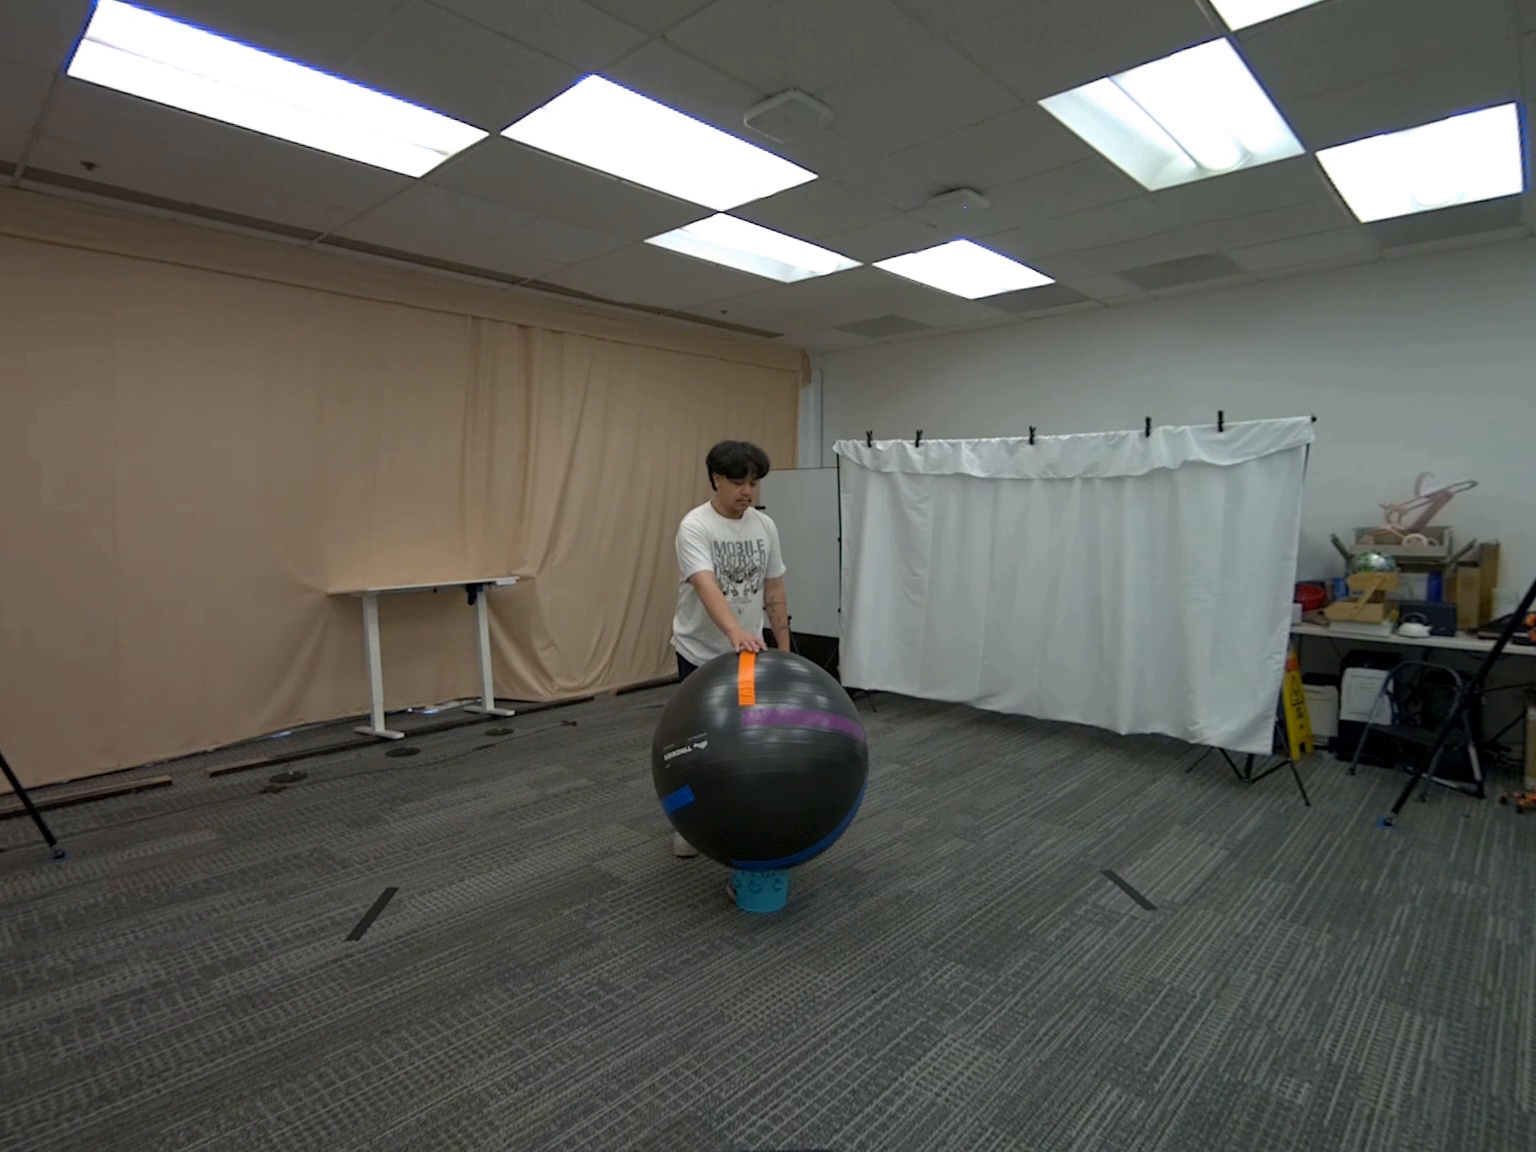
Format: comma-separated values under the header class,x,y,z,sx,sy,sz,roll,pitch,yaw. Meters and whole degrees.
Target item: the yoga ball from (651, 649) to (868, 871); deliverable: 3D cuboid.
class,x,y,z,sx,sy,sz,roll,pitch,yaw
yoga ball,-0.032,0.639,2.946,0.757,0.756,0.761,0,4,-2
